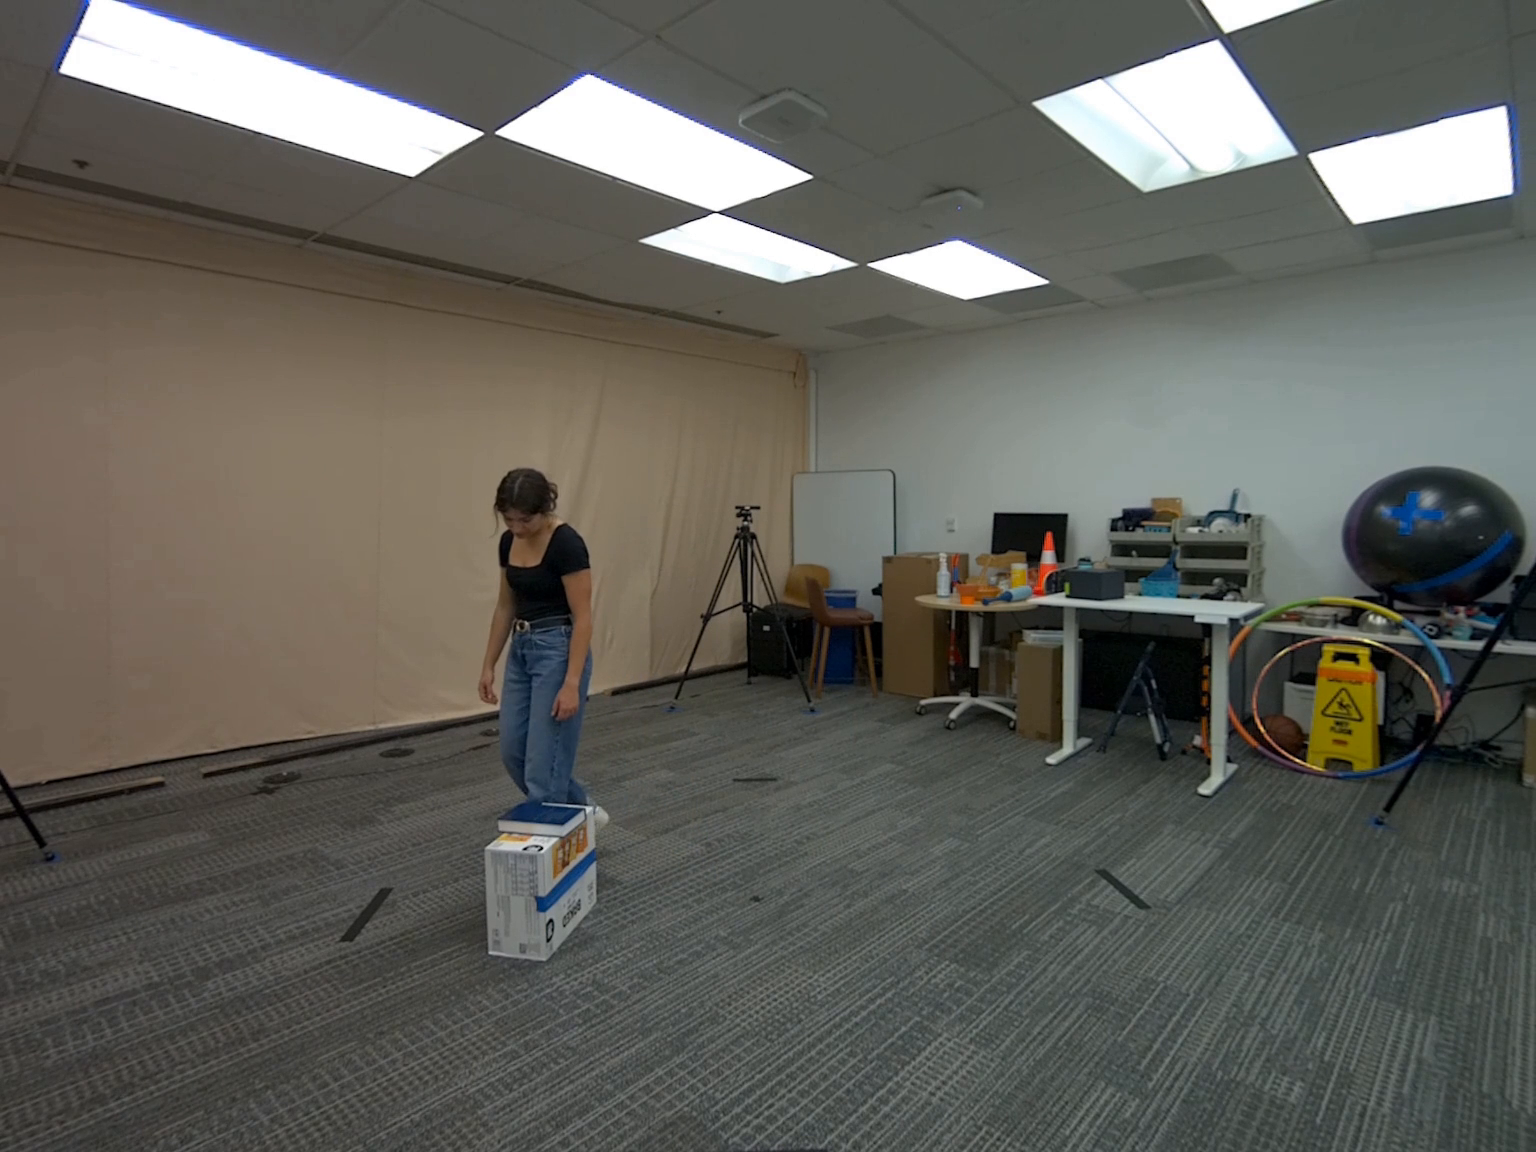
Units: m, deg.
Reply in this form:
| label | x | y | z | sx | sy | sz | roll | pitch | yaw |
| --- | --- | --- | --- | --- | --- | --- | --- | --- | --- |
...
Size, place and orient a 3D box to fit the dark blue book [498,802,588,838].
| label | x | y | z | sx | sy | sz | roll | pitch | yaw |
| --- | --- | --- | --- | --- | --- | --- | --- | --- | --- |
| dark blue book | -0.746 | 0.805 | 2.792 | 0.249 | 0.045 | 0.161 | 0 | 4 | 16 |
